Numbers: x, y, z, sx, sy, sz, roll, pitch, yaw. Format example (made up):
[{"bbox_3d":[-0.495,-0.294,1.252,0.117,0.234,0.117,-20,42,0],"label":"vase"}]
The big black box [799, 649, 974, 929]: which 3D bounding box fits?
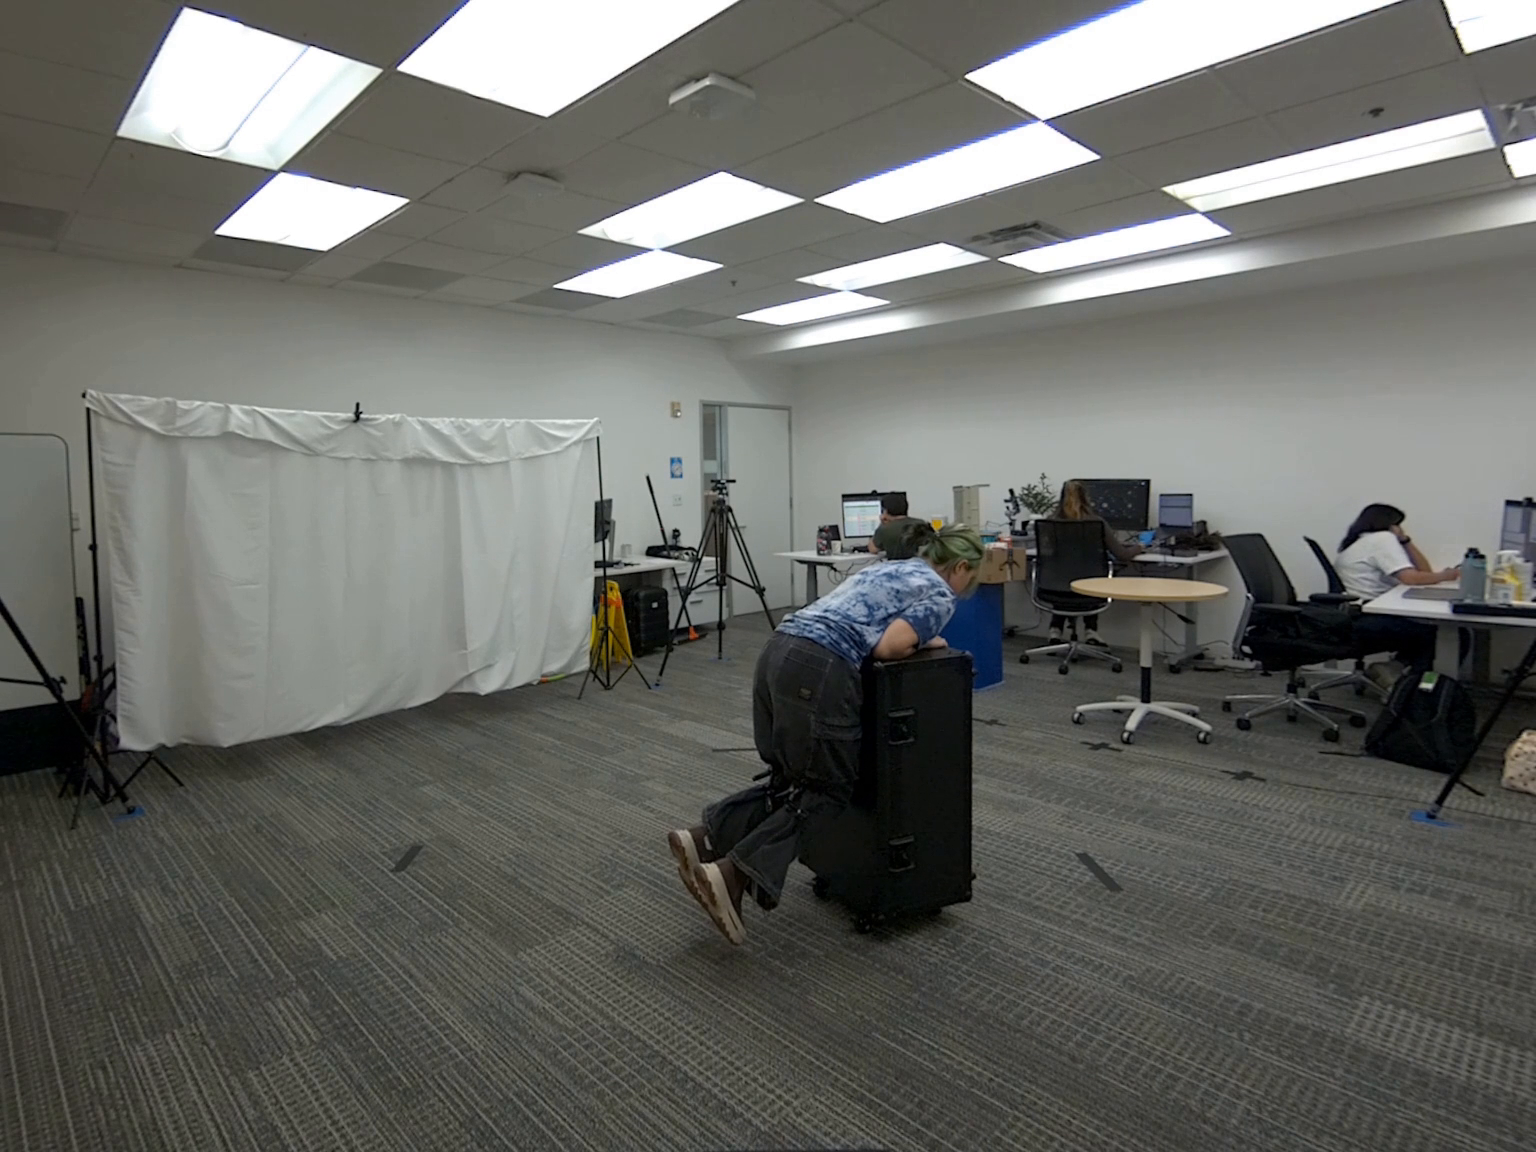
[{"bbox_3d":[0.384,0.598,2.796,0.388,0.858,0.534,-2,5,-26],"label":"big black box"}]
